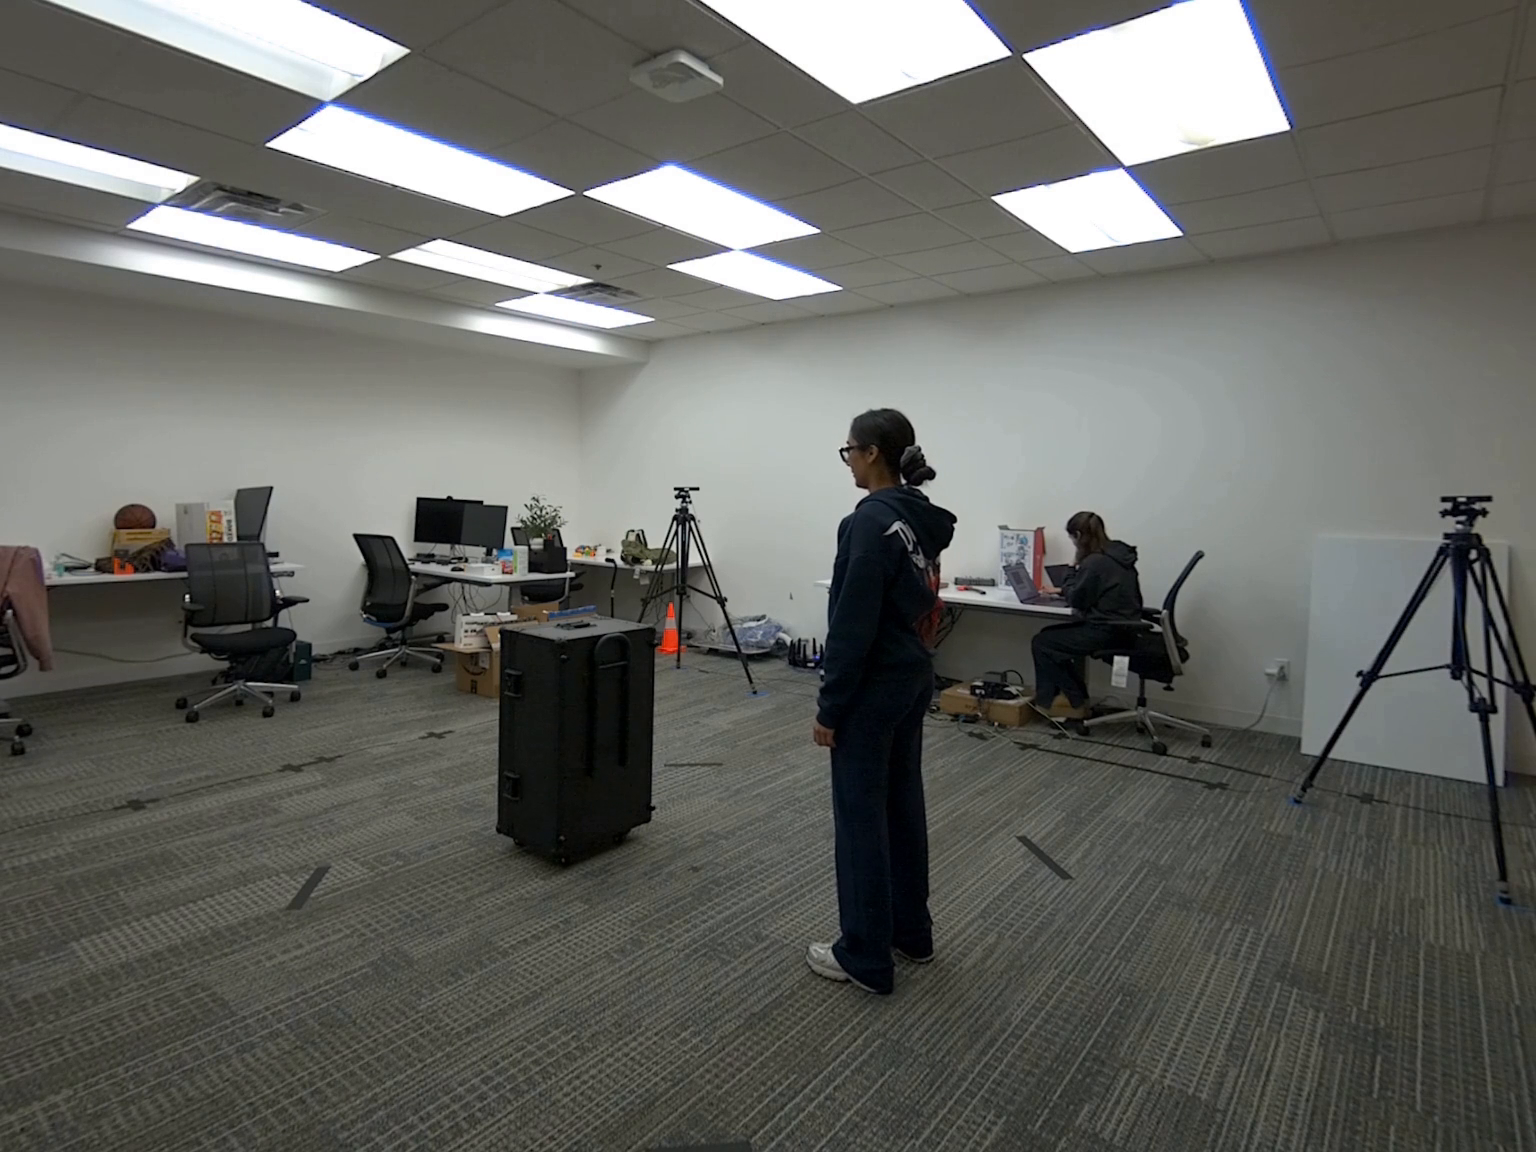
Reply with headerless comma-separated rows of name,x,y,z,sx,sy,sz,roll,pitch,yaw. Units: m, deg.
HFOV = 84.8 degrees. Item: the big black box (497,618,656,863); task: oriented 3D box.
big black box,-0.739,0.621,3.280,0.410,0.858,0.506,6,5,38
